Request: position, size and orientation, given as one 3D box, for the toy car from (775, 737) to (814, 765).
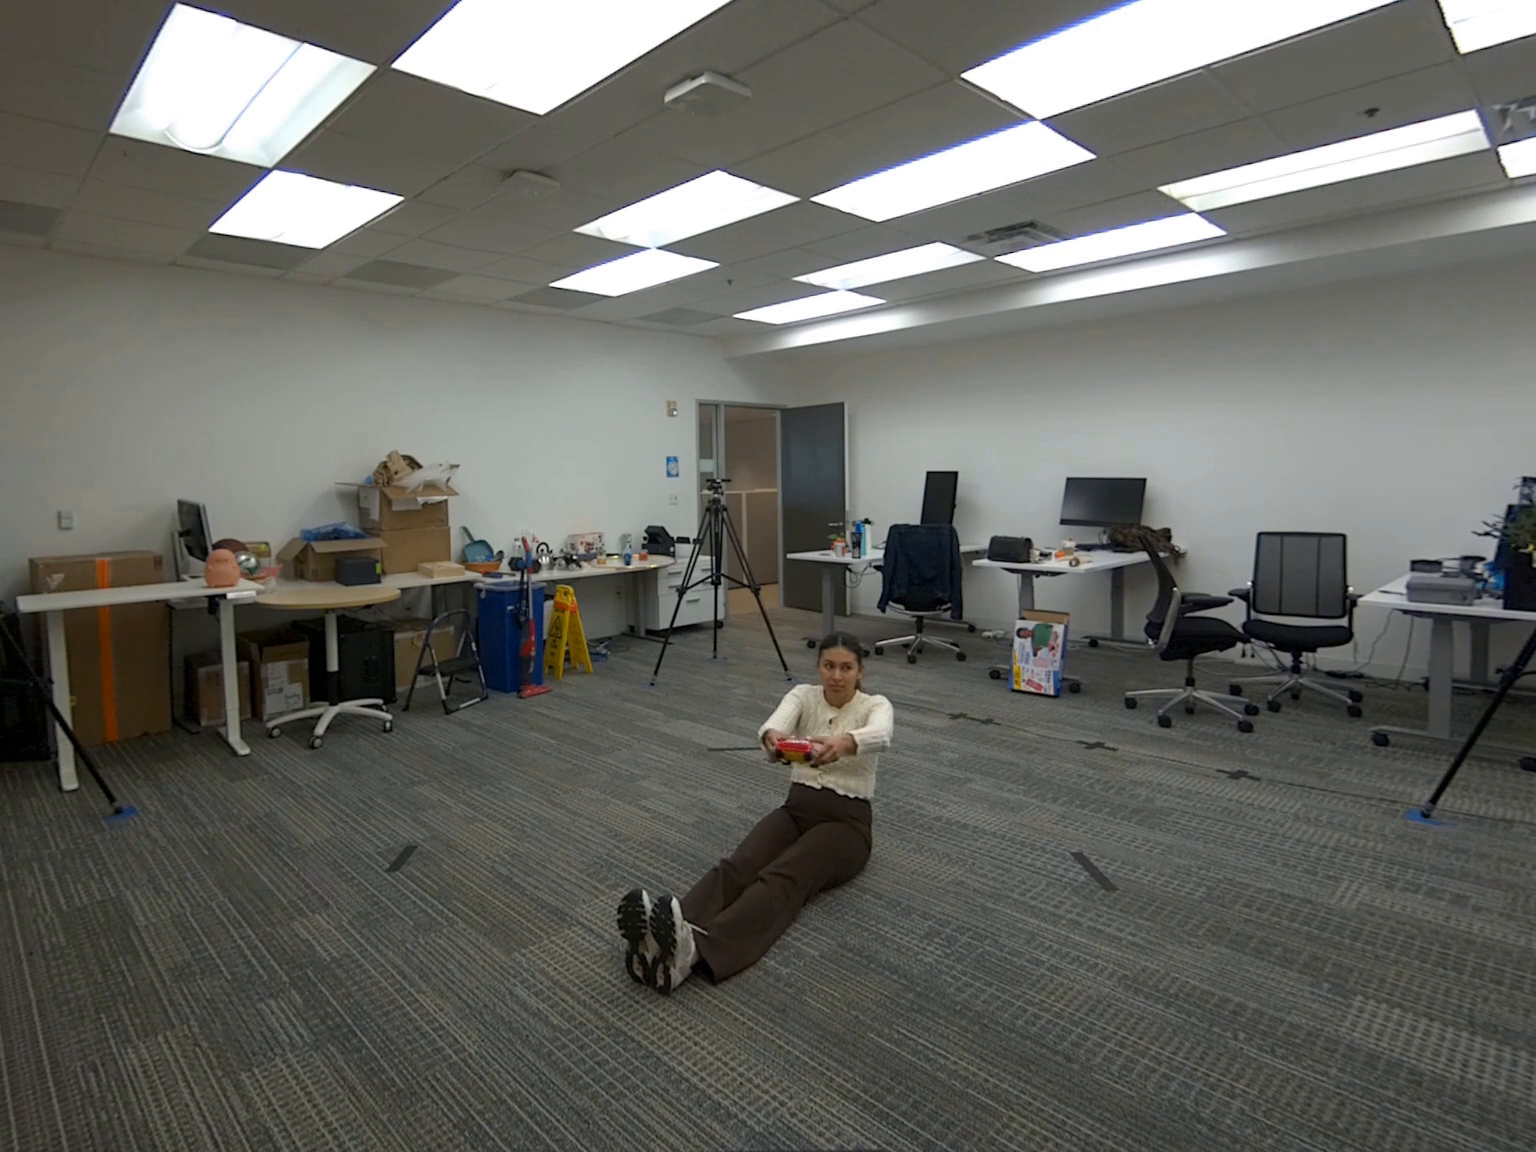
[{"bbox_3d":[0.096,0.542,2.639,0.131,0.084,0.251,3,-8,6],"label":"toy car"}]
